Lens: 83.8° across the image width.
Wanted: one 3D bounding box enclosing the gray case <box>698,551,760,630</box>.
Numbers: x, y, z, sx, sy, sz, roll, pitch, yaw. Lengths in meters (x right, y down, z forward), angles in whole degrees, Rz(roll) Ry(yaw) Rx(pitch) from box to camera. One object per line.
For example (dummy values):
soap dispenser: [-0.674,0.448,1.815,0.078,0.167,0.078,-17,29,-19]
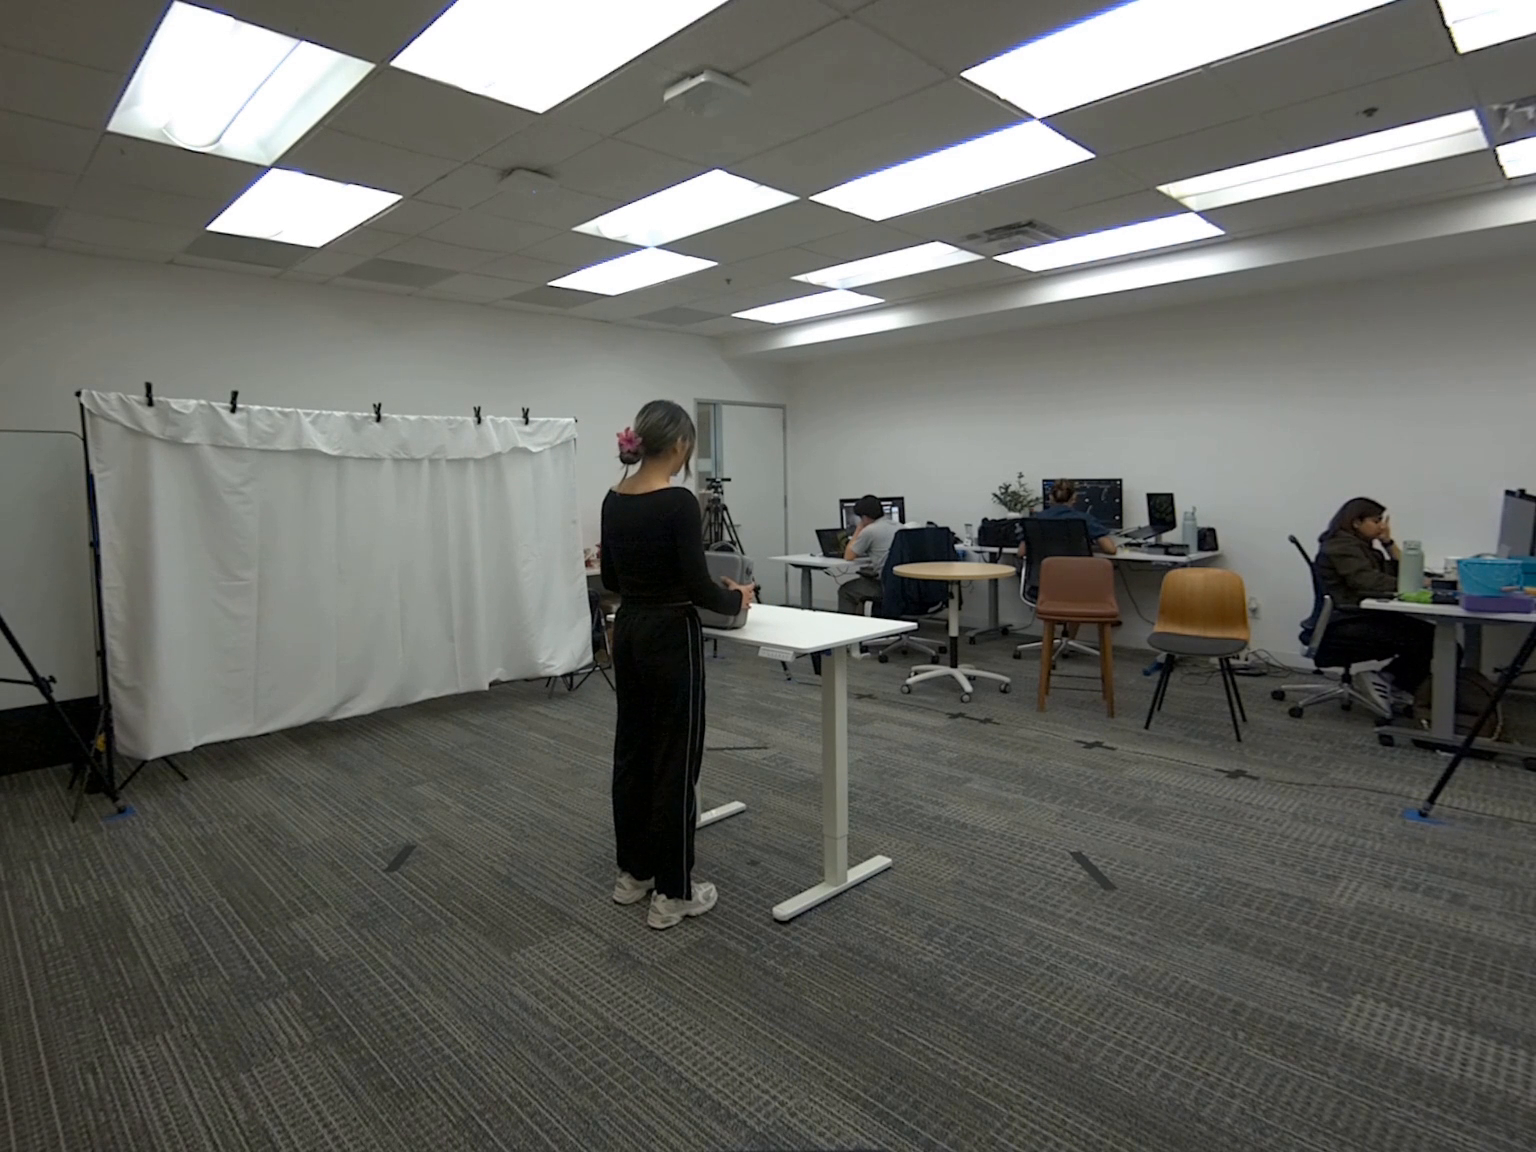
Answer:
gray case: [-0.181,0.044,2.983,0.265,0.262,0.101,4,-6,42]
